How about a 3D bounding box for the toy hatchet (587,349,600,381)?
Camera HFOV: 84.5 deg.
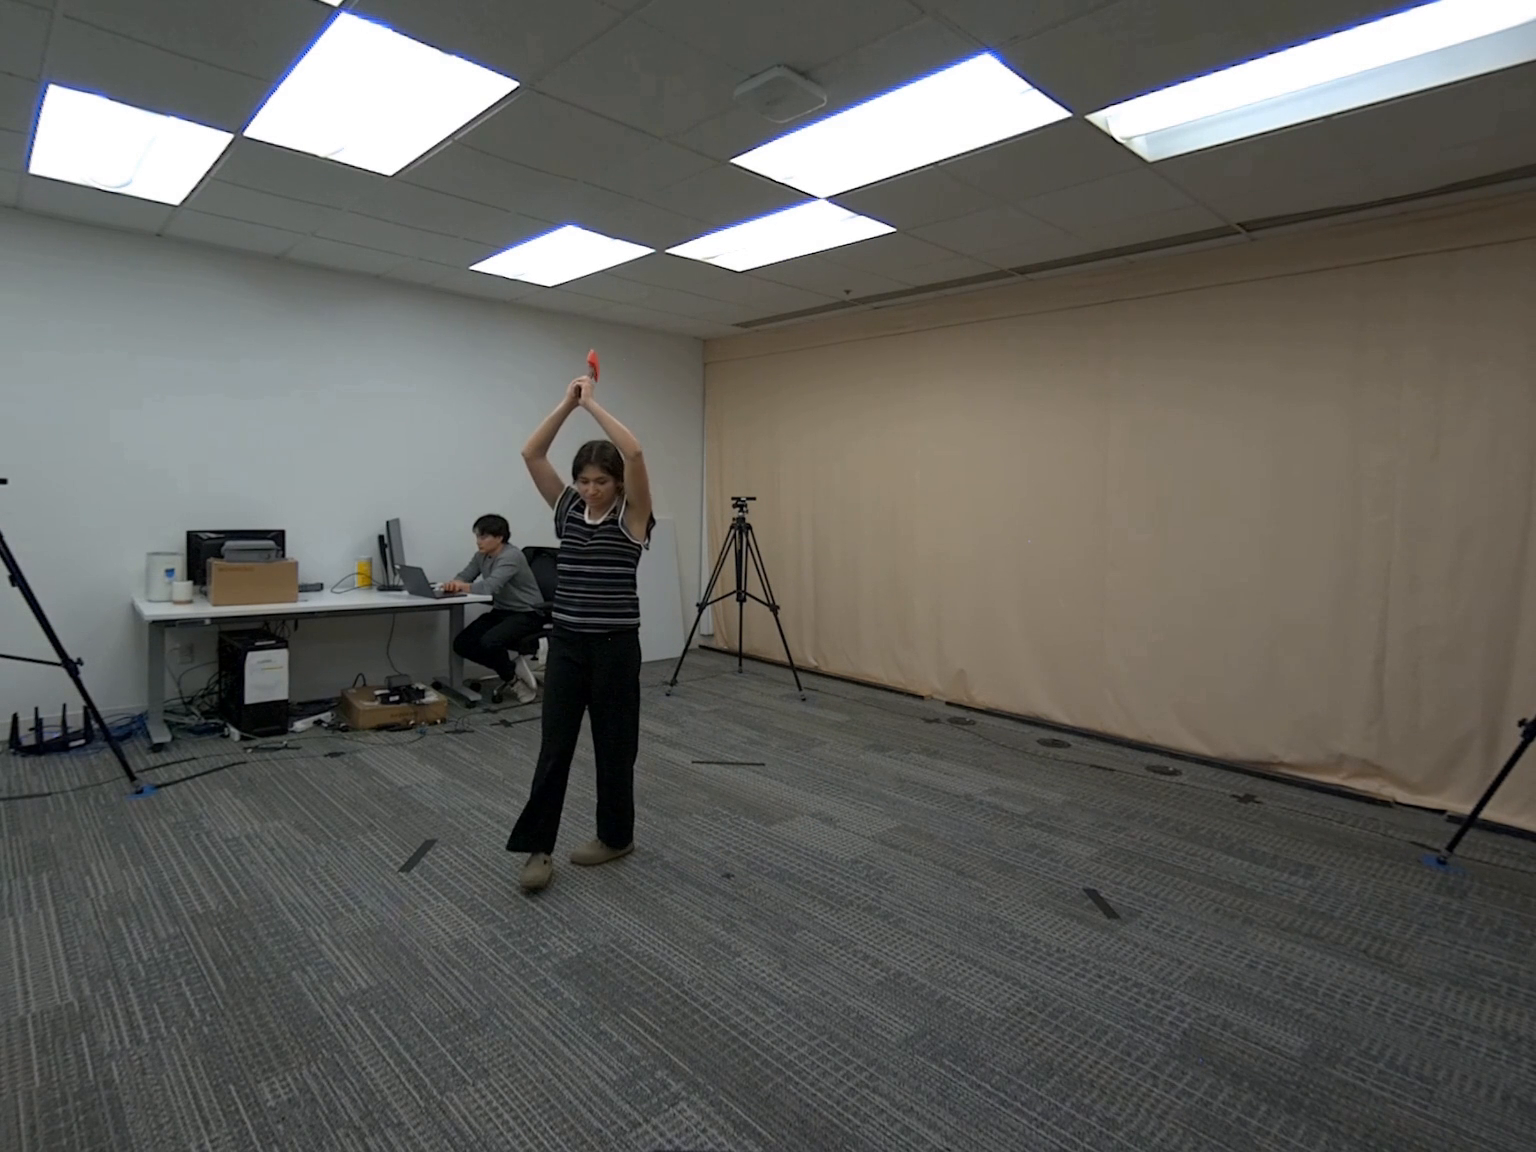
[{"bbox_3d":[-0.661,-0.735,3.009,0.029,0.129,0.273,3,24,1],"label":"toy hatchet"}]
